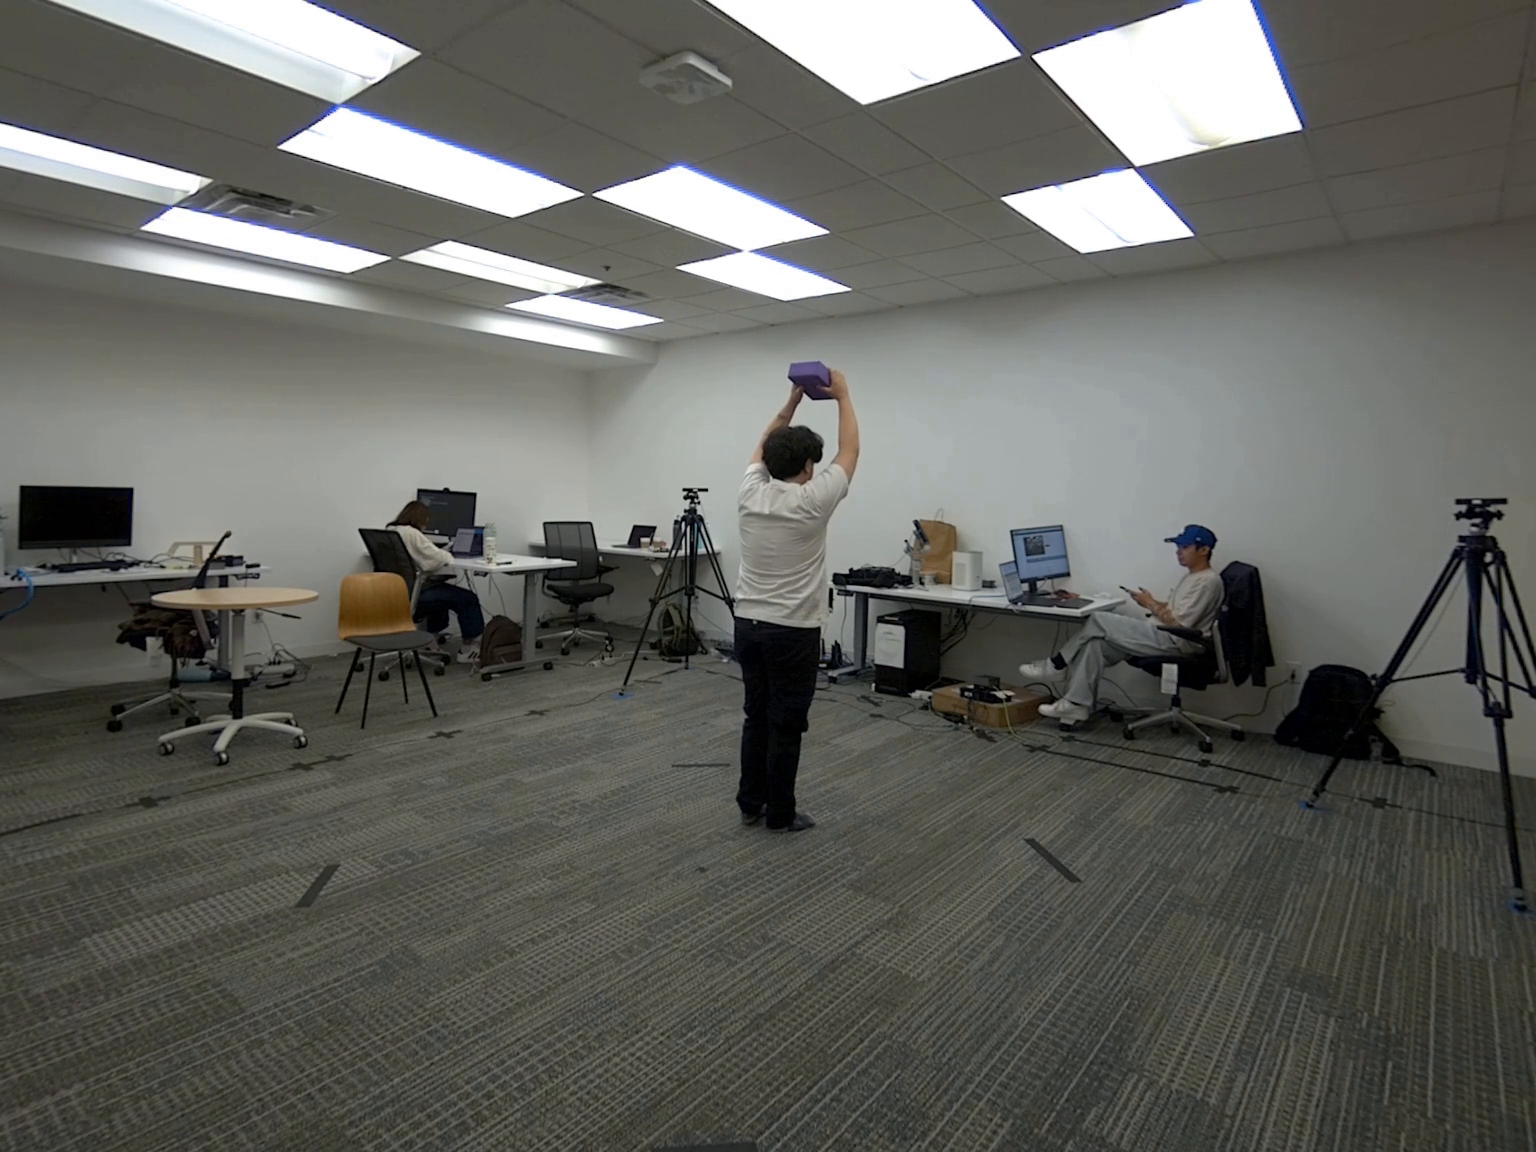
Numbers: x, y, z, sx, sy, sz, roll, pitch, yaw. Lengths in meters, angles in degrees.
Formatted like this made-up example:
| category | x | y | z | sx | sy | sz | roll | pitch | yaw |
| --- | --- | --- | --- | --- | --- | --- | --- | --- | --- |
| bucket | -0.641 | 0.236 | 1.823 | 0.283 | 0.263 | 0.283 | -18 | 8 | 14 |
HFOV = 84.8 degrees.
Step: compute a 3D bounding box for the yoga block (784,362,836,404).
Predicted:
| category | x | y | z | sx | sy | sz | roll | pitch | yaw |
| --- | --- | --- | --- | --- | --- | --- | --- | --- | --- |
| yoga block | 0.198 | -0.827 | 3.604 | 0.154 | 0.077 | 0.220 | 5 | -12 | 36 |
